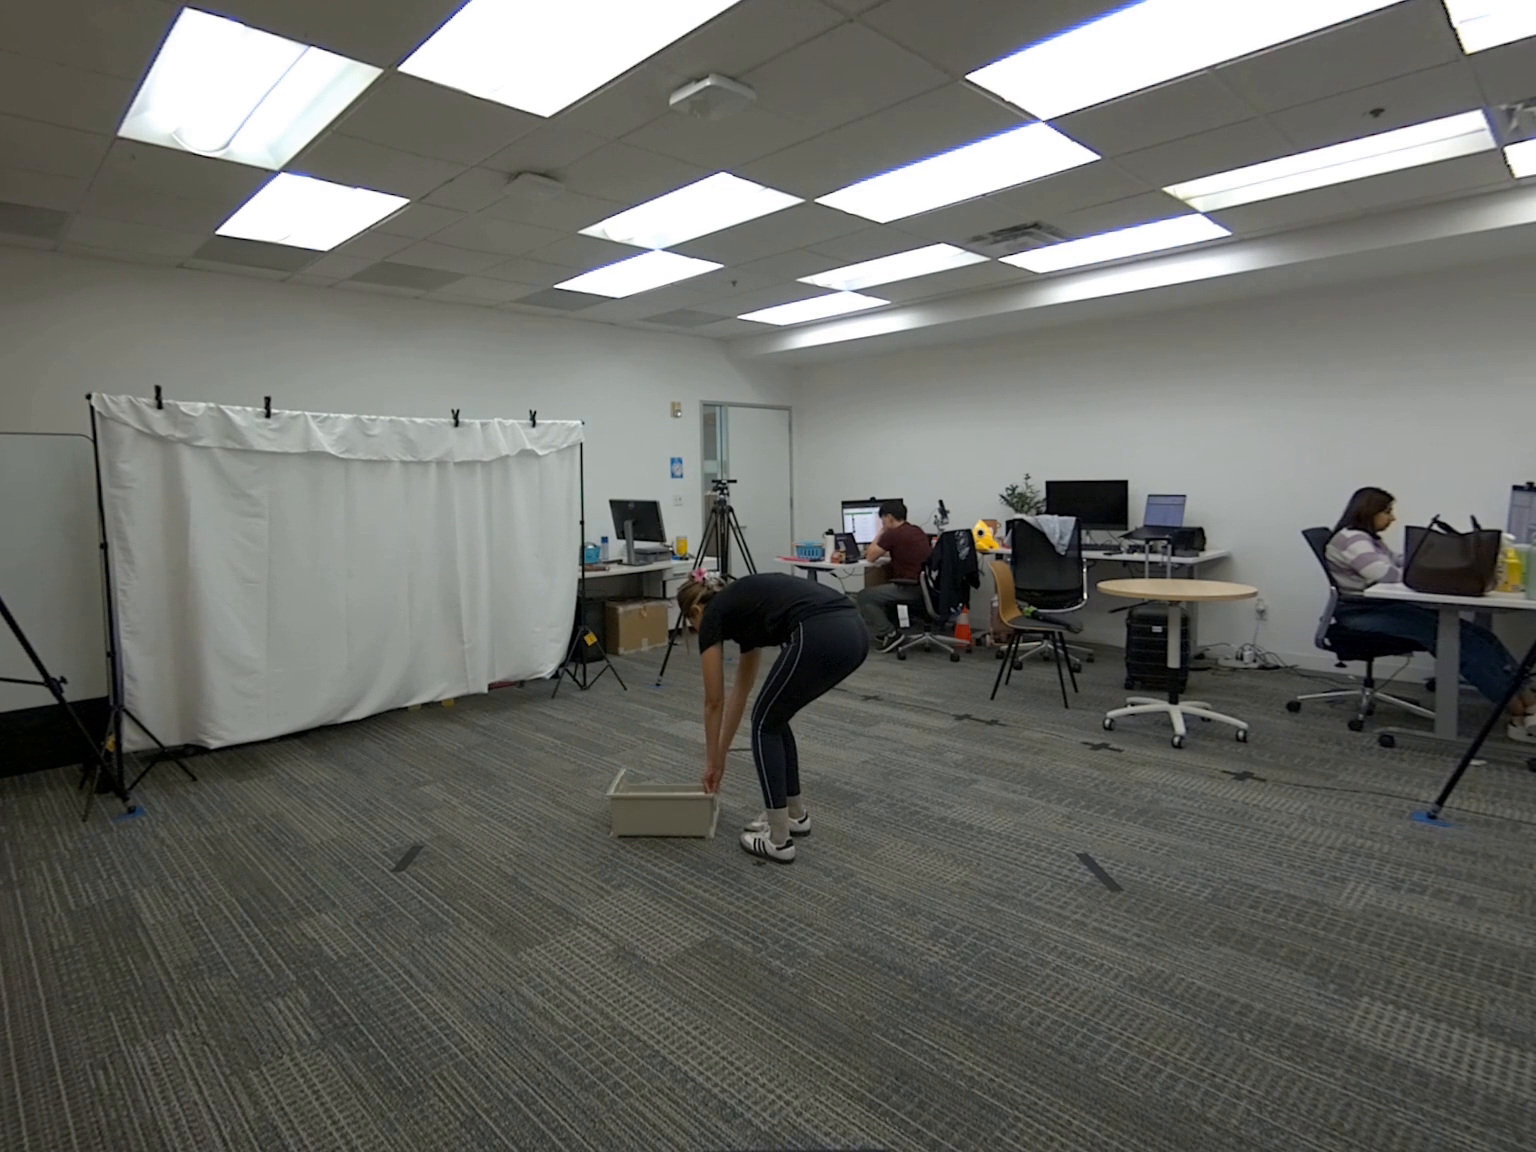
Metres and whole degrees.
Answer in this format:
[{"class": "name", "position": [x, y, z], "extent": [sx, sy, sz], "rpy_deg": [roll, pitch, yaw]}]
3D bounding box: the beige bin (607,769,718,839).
[{"class": "beige bin", "position": [-0.417, 0.919, 3.515], "extent": [0.423, 0.188, 0.378], "rpy_deg": [1, 7, 2]}]
